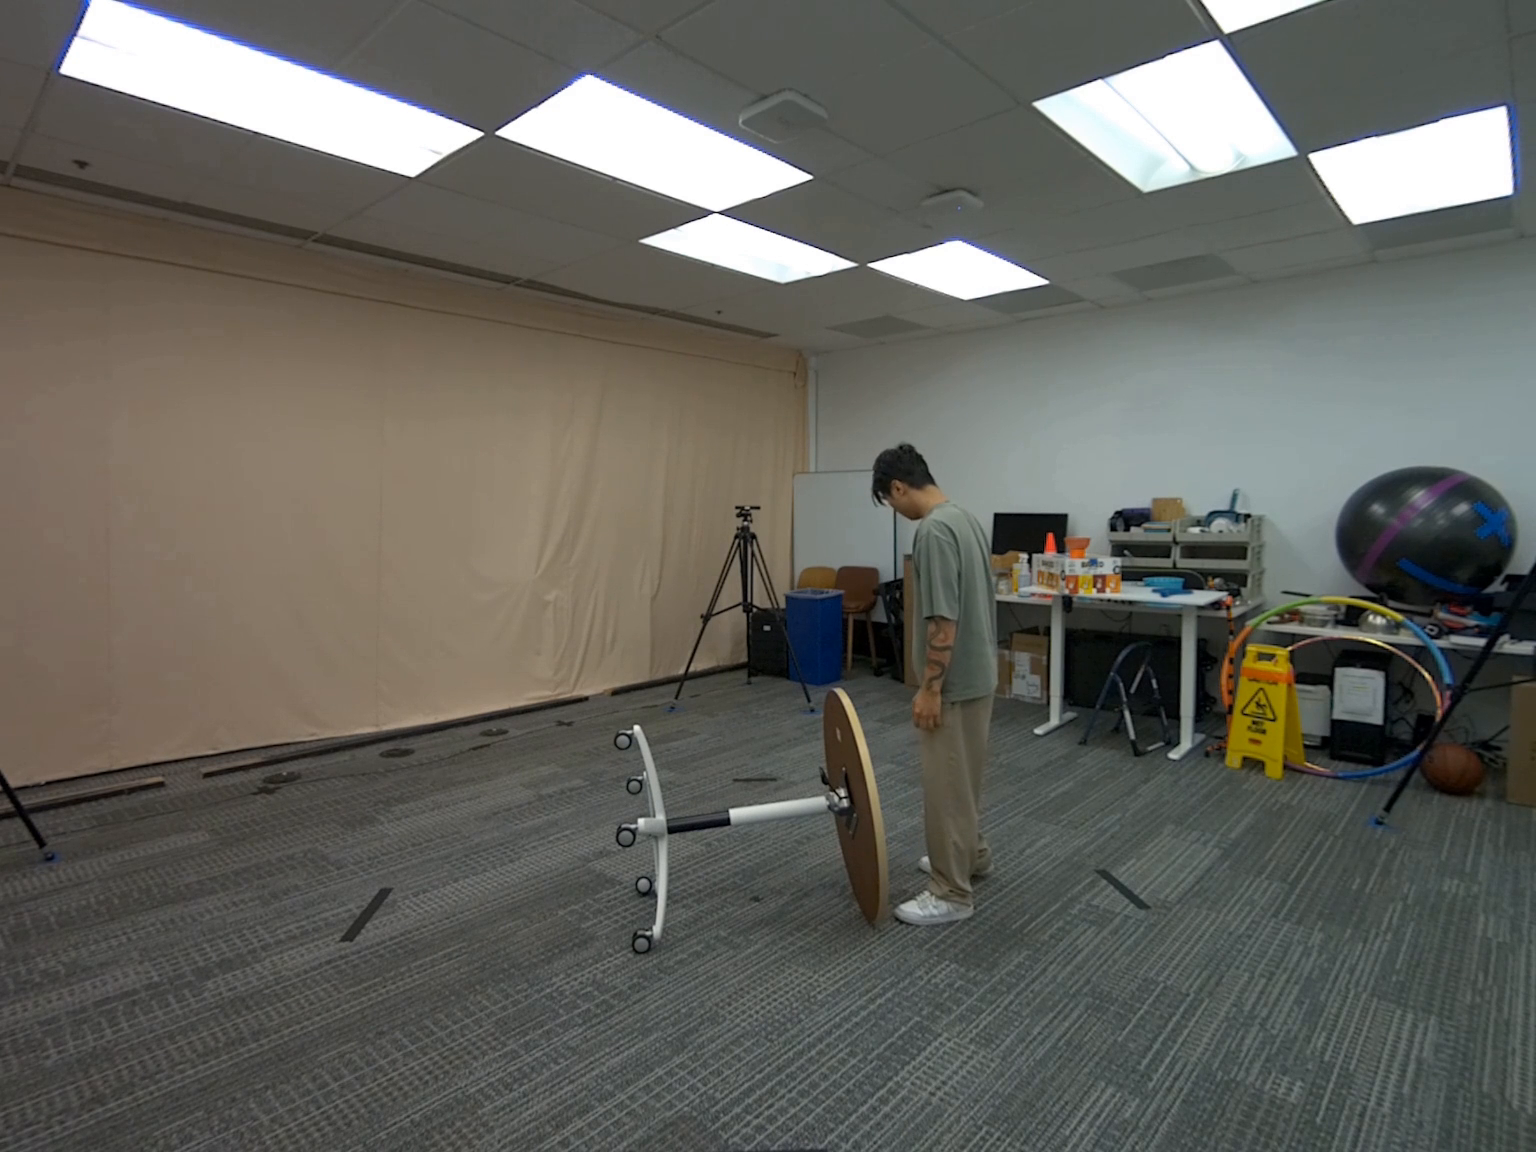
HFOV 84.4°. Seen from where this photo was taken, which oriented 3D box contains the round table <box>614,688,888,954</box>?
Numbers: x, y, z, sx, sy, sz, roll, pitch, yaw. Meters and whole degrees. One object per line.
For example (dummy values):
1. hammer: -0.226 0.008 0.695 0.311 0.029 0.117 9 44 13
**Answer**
1. round table: -0.087 0.812 2.855 0.782 0.783 0.792 -6 5 -6
